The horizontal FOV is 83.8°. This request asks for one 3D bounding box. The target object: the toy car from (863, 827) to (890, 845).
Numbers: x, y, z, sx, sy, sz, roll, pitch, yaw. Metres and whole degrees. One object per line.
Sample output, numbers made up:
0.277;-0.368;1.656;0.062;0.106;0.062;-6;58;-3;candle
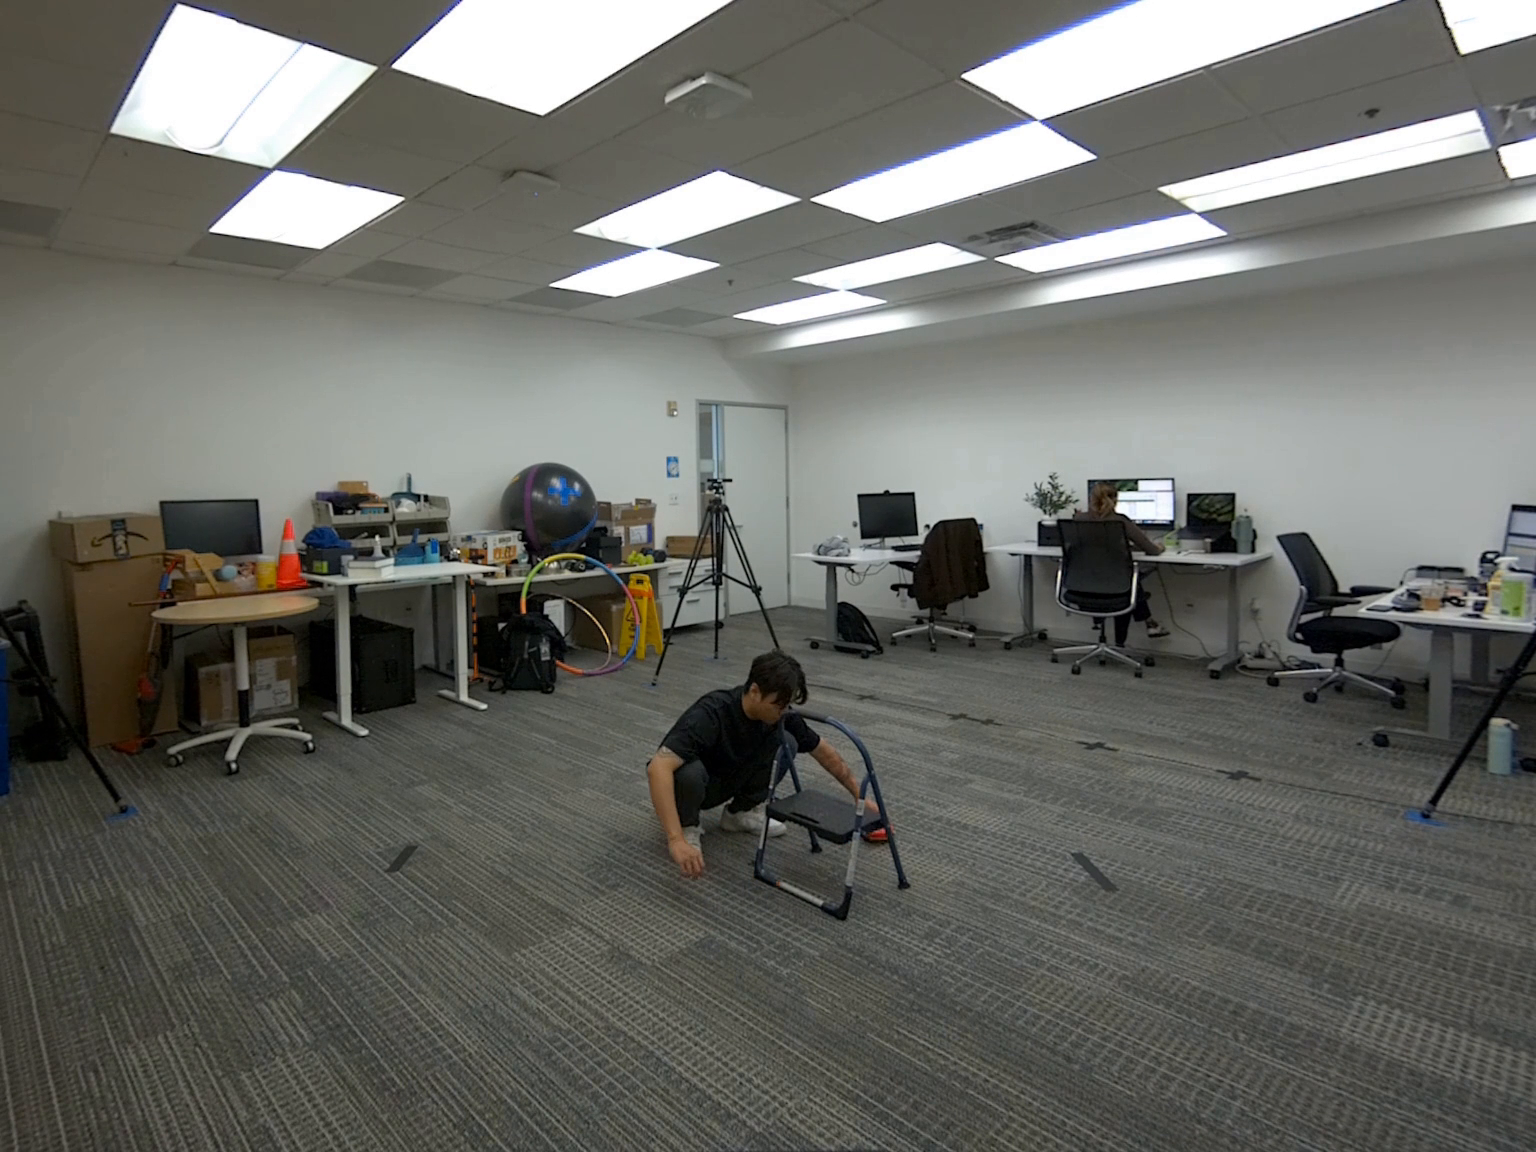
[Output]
0.417;0.981;3.332;0.130;0.084;0.253;0;-5;-1;toy car
